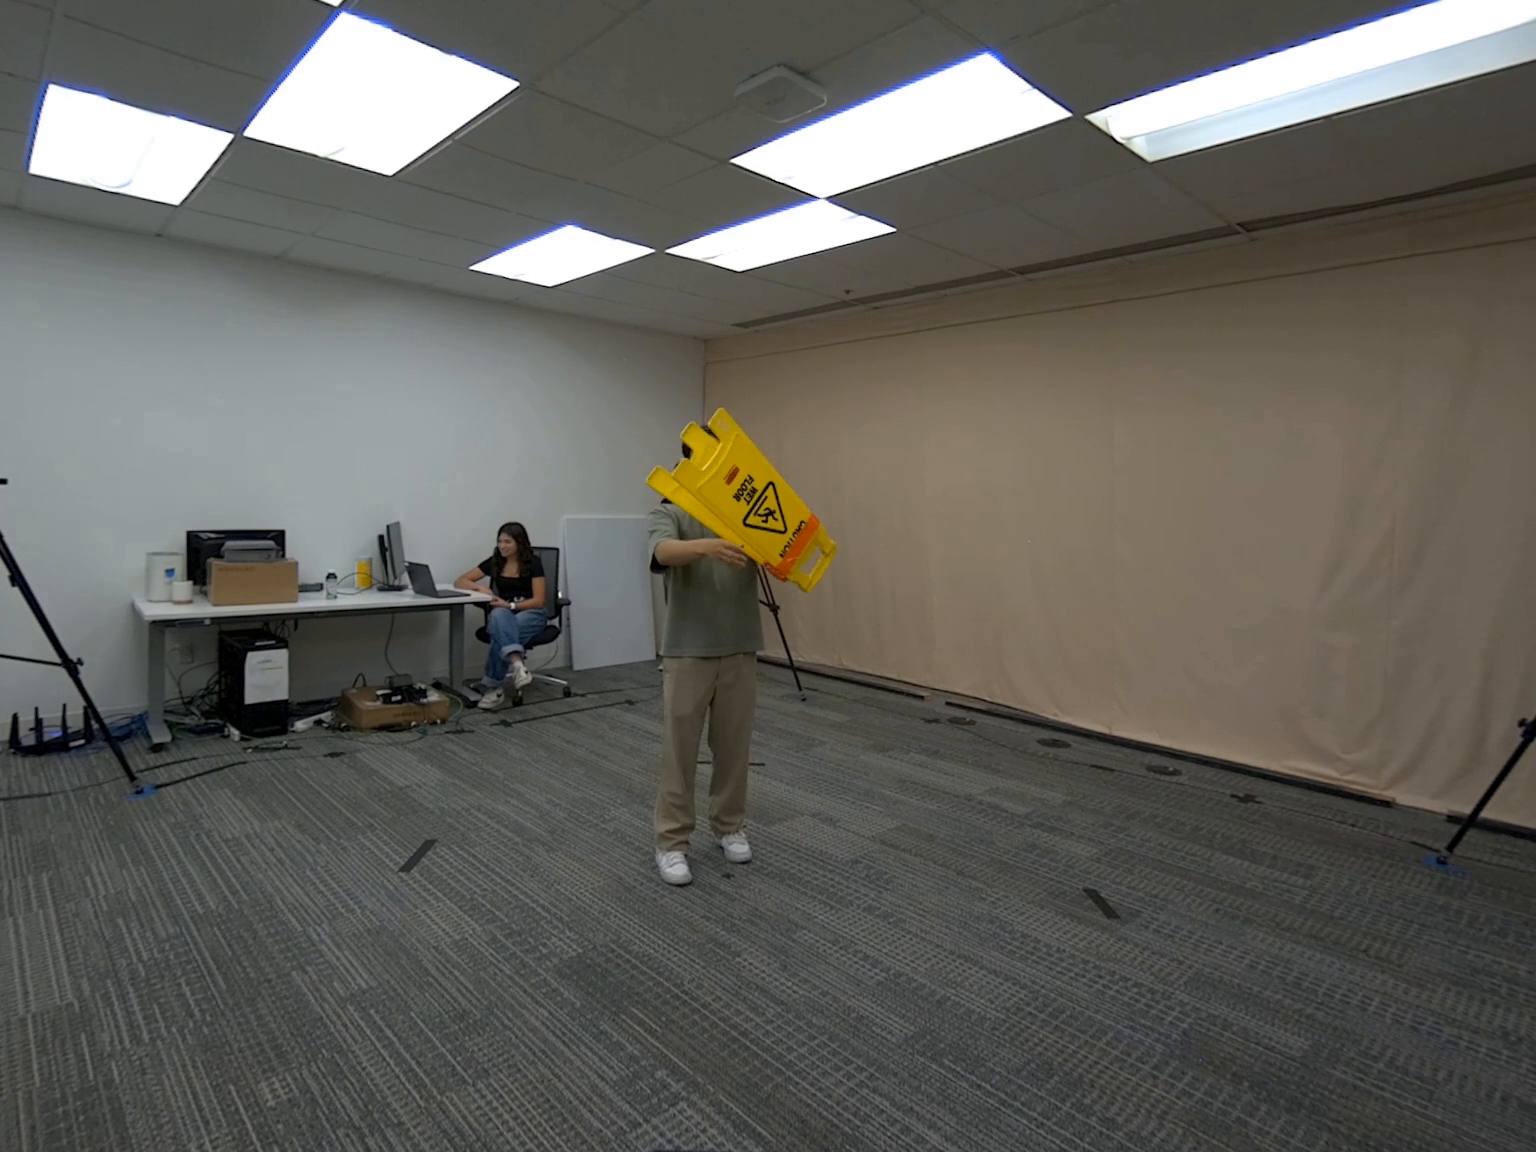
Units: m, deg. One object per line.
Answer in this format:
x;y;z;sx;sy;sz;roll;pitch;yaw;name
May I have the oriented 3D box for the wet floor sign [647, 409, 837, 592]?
-0.049;-0.209;2.752;0.634;0.283;0.295;41;-16;-19;wet floor sign
